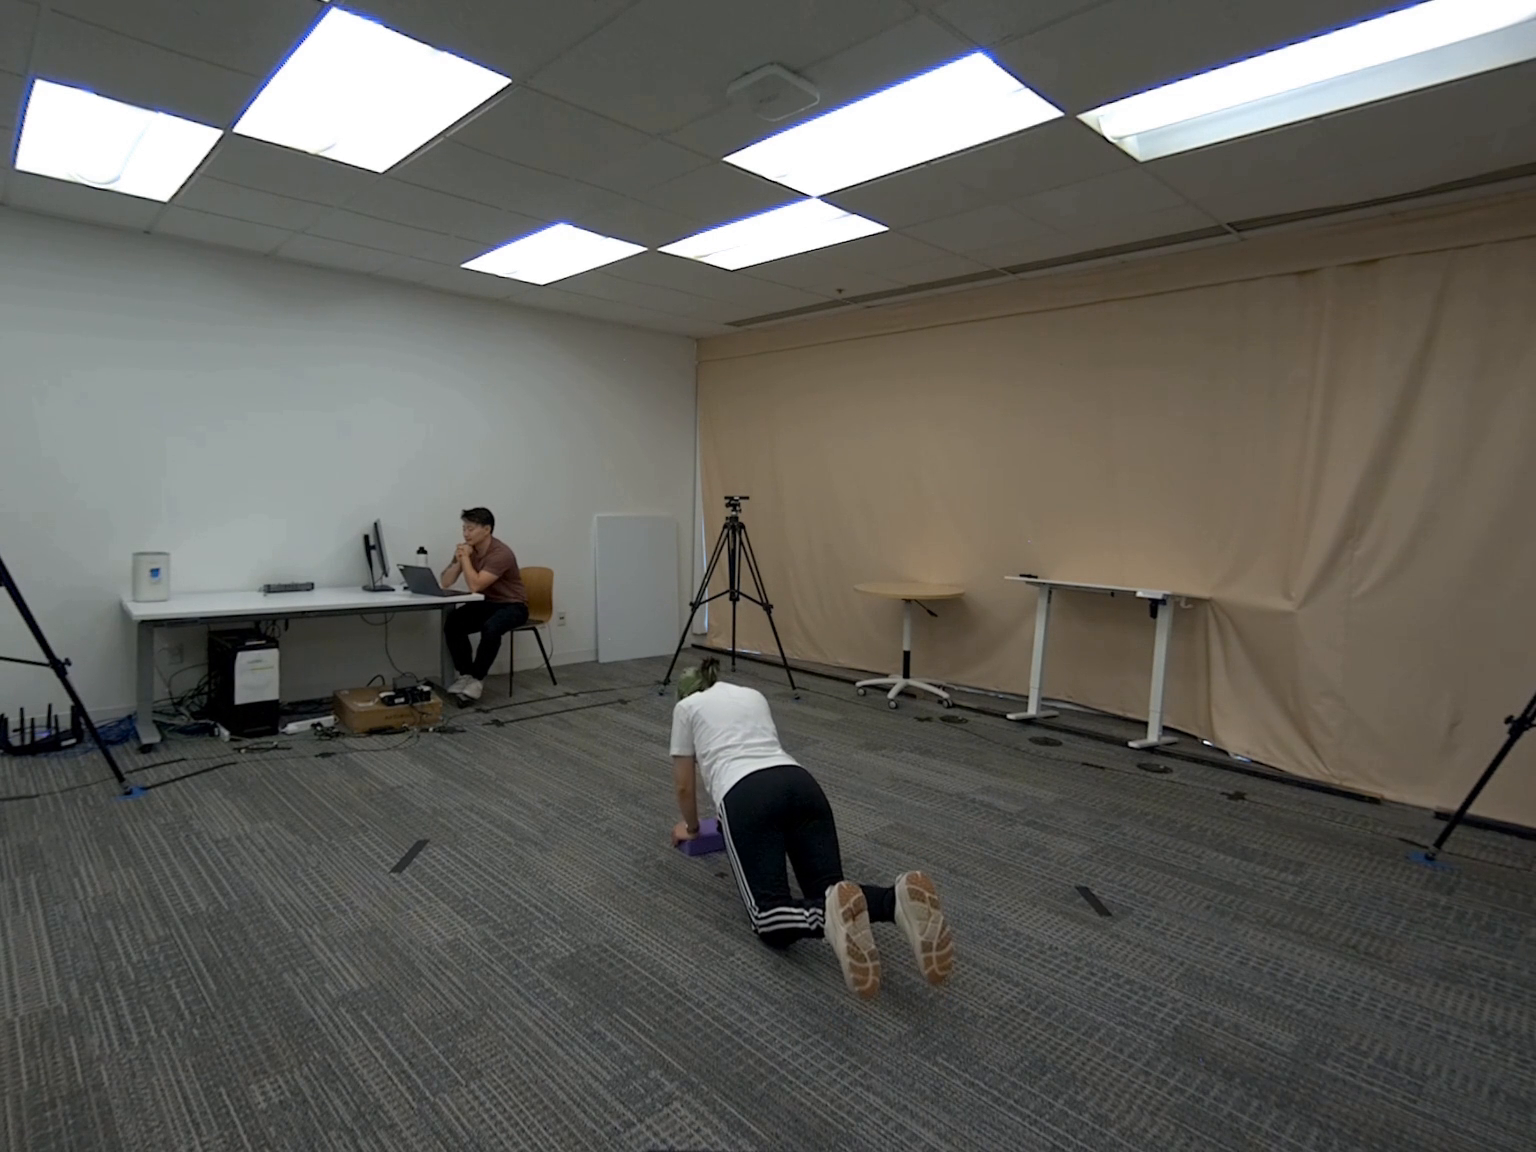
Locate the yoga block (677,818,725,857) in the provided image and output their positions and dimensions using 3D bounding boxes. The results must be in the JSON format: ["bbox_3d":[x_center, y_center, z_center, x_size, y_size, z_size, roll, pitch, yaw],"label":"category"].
[{"bbox_3d":[-0.252,1.043,3.364,0.225,0.076,0.152,-3,5,-31],"label":"yoga block"}]
